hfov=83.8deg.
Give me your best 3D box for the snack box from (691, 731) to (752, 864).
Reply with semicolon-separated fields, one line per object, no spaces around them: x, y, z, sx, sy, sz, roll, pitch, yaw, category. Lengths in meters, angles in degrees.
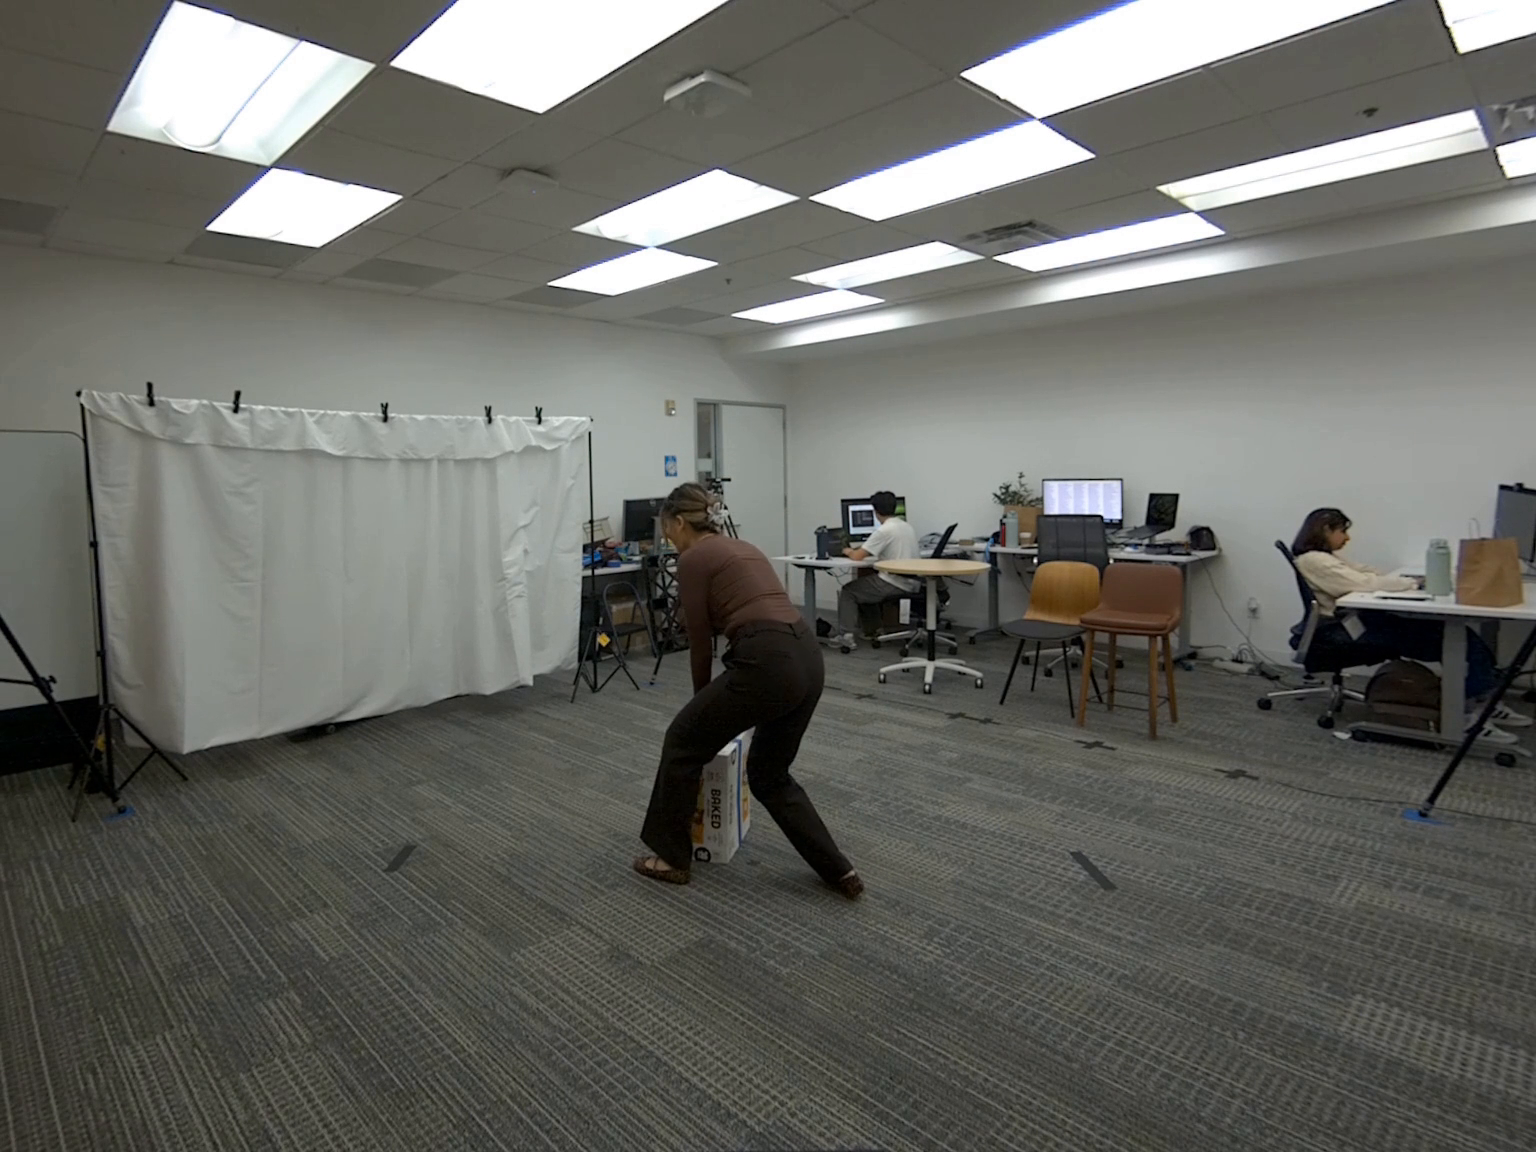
-0.204;0.822;3.271;0.208;0.403;0.337;1;6;13;snack box
